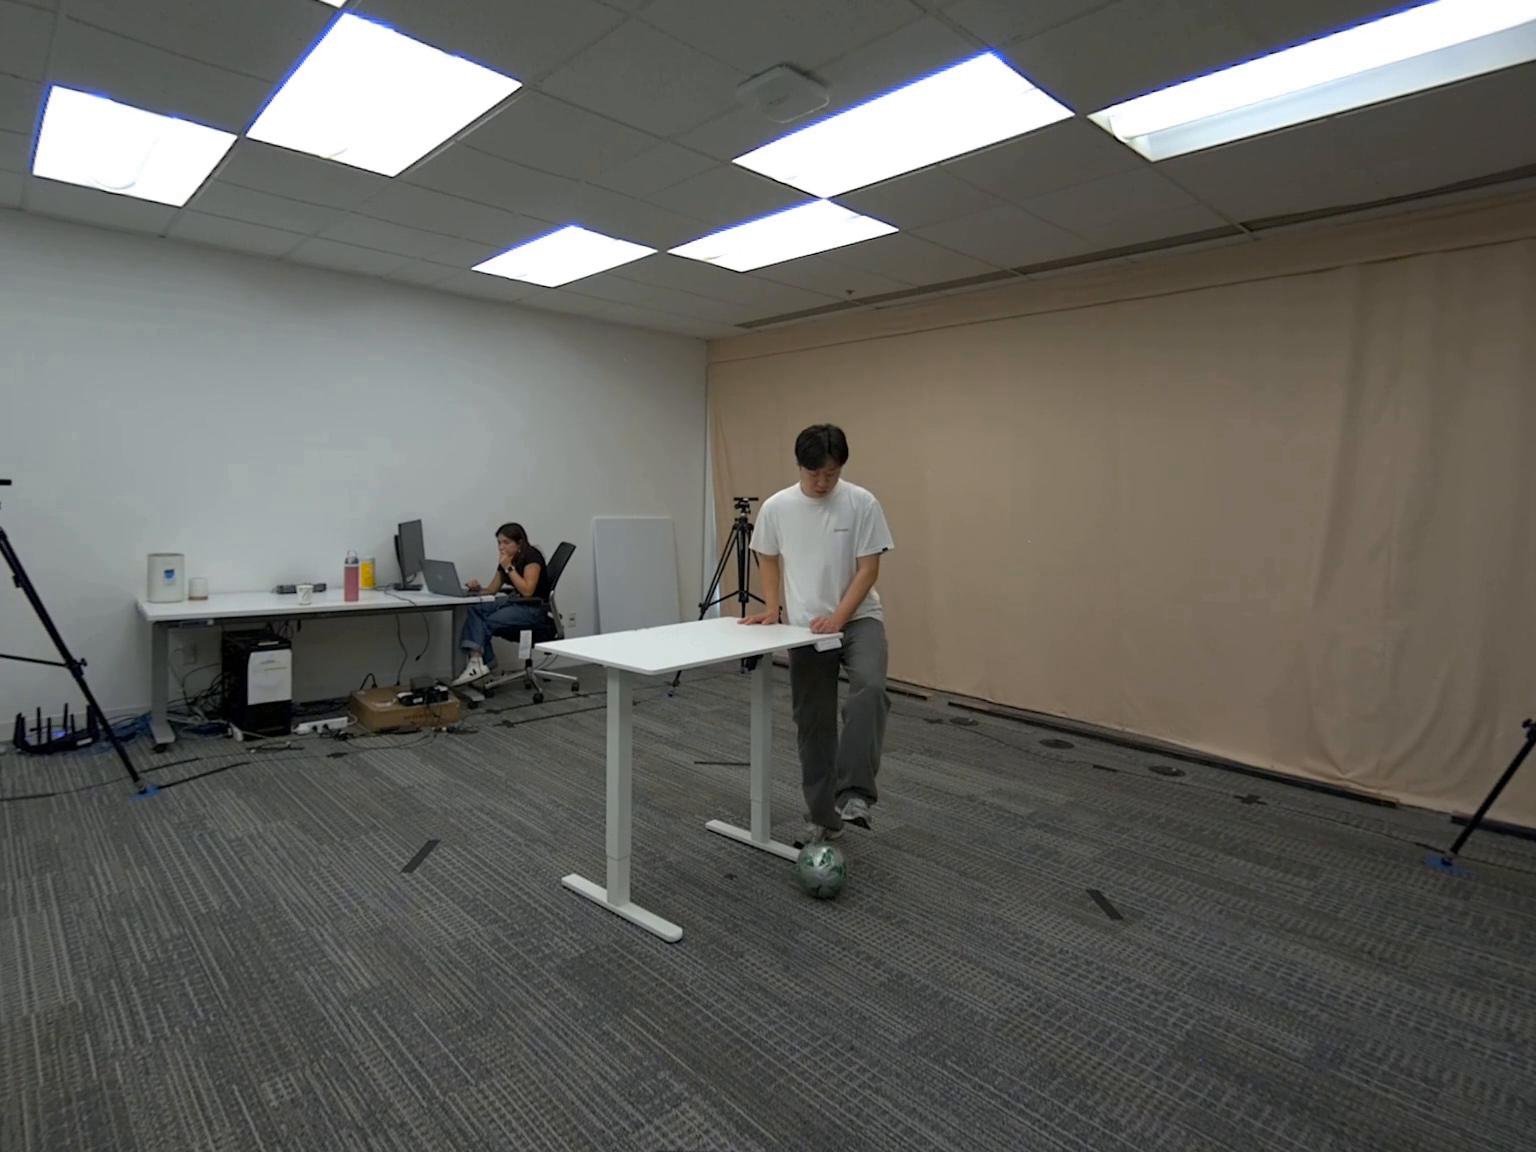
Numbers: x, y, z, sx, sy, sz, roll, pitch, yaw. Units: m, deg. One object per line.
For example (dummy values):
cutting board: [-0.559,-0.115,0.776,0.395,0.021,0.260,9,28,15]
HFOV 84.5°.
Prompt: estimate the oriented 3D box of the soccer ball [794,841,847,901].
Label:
soccer ball: [0.181,1.037,2.960,0.187,0.187,0.188,1,4,-1]
